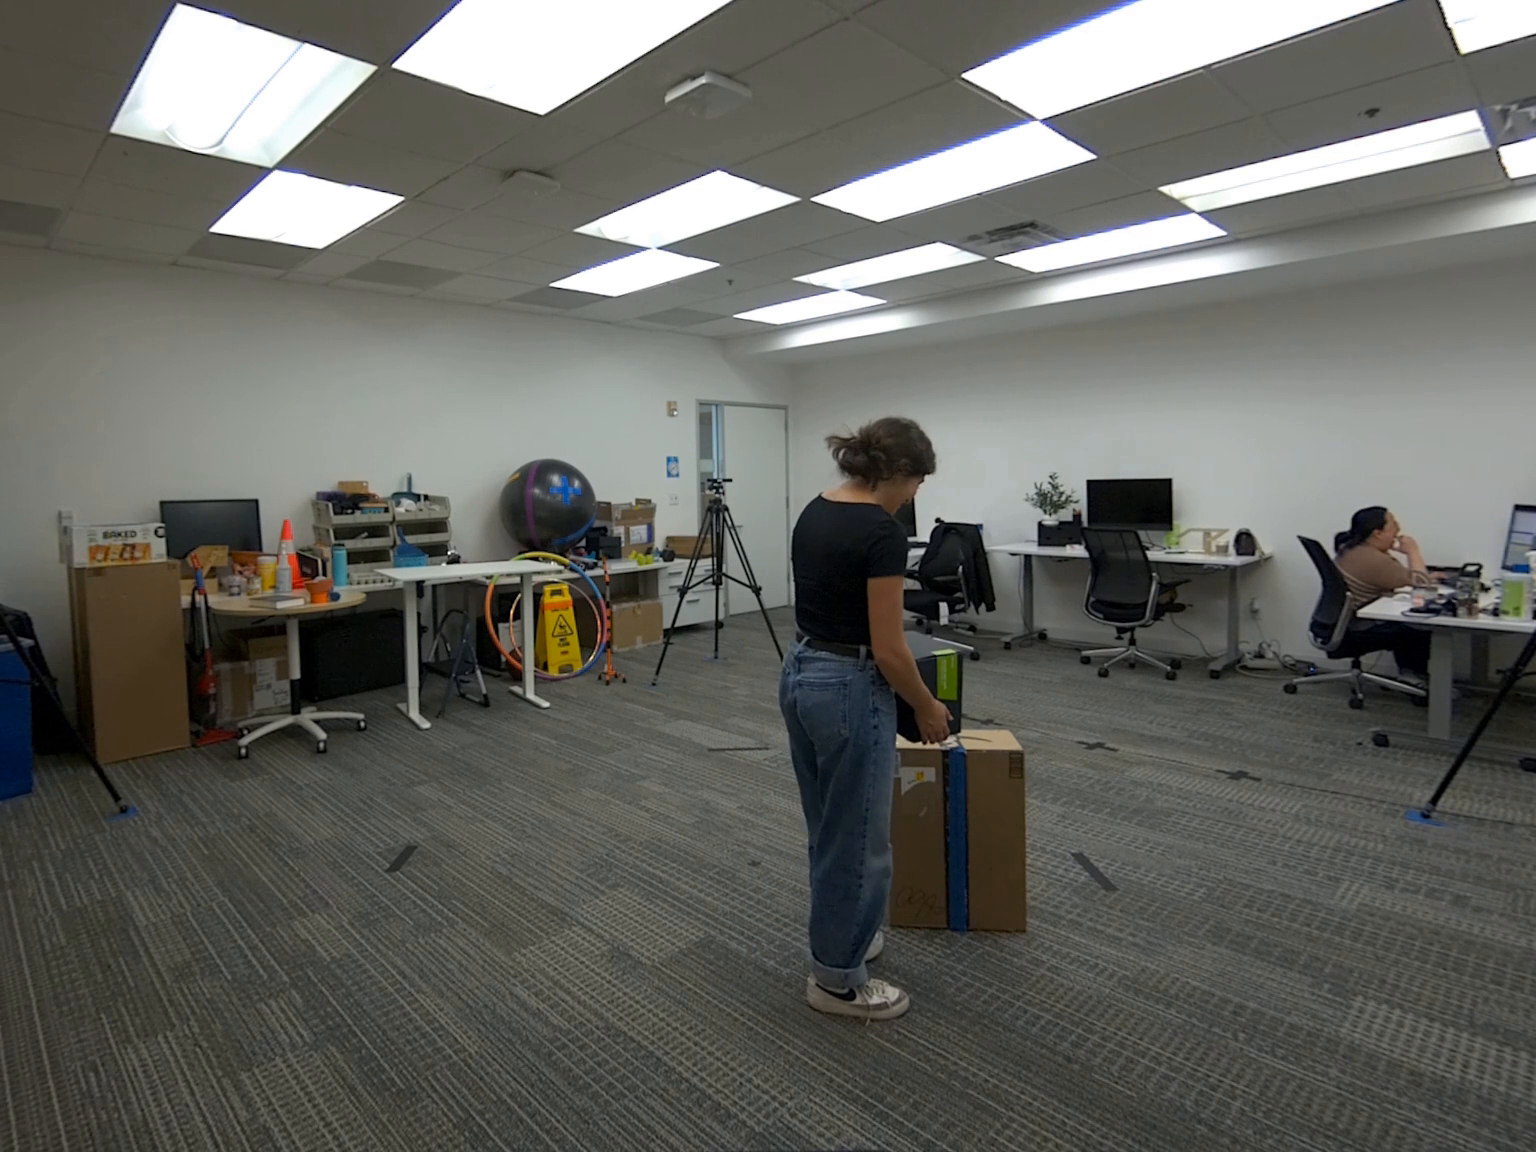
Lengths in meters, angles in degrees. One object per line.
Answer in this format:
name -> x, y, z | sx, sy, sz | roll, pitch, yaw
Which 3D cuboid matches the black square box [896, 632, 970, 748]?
black square box -> 0.397, 0.296, 2.285 | 0.153, 0.226, 0.223 | -4, 12, -24
